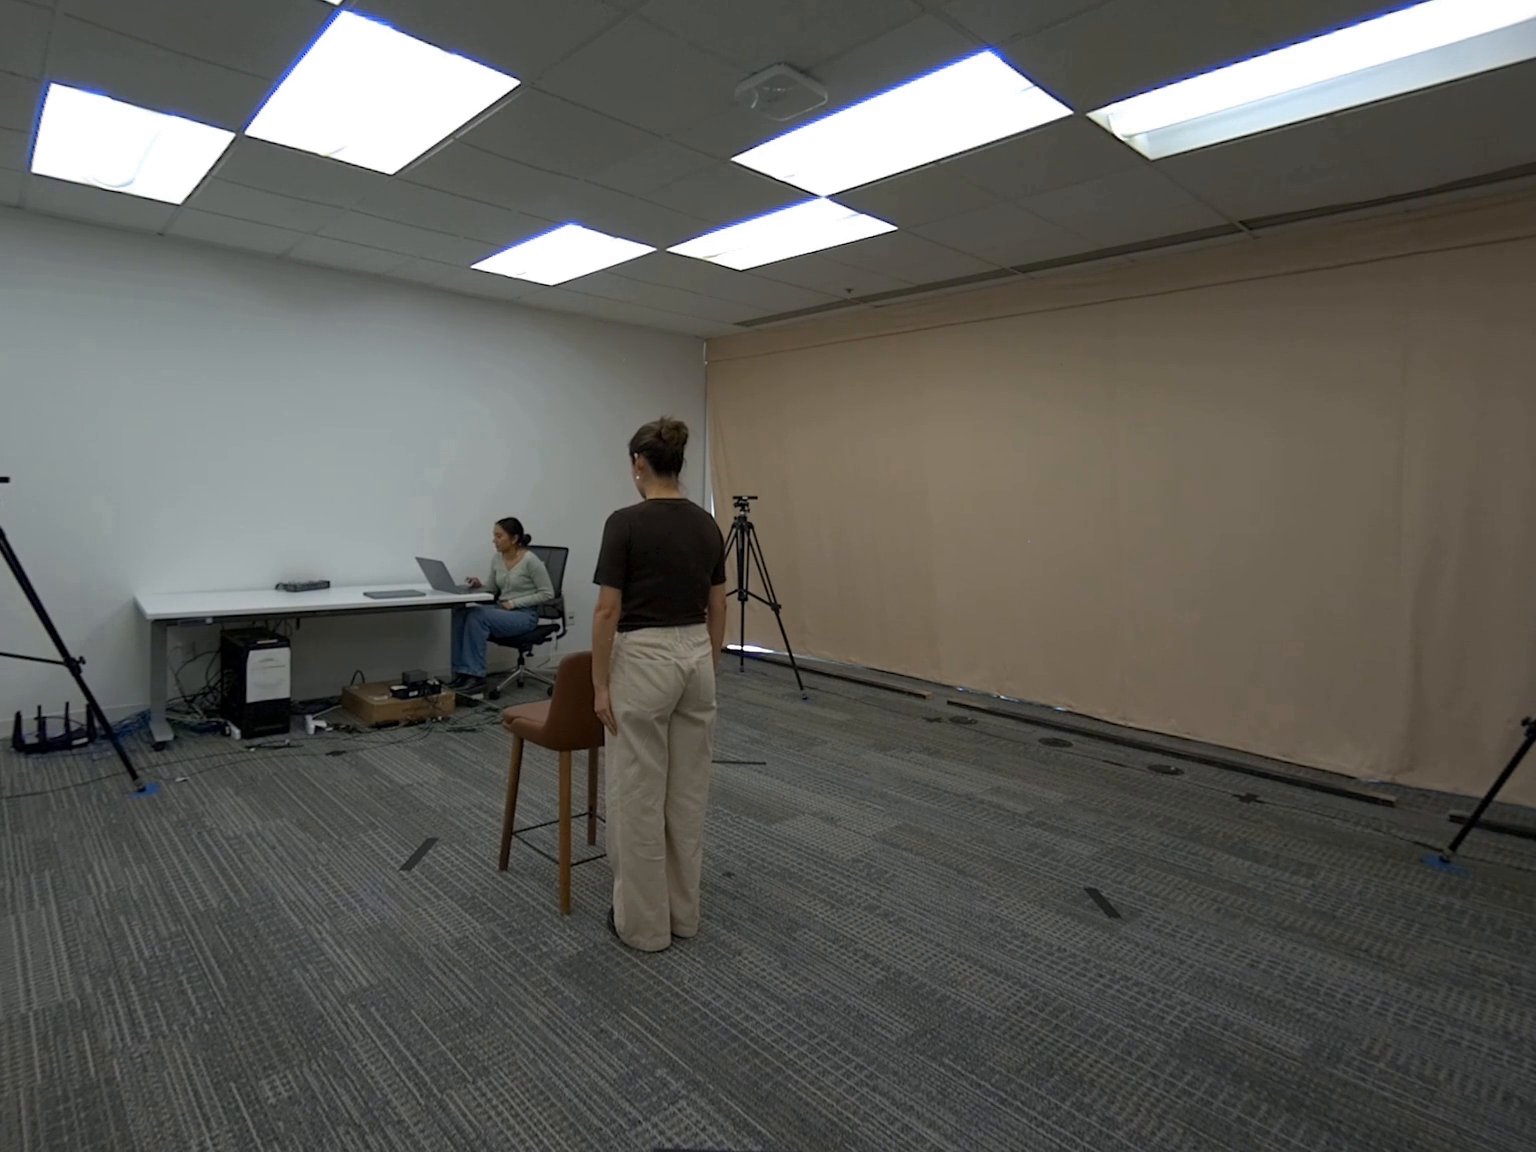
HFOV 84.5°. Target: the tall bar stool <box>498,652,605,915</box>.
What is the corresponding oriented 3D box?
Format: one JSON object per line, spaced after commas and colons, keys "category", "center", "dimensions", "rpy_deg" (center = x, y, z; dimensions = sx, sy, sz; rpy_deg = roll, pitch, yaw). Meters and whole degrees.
{"category": "tall bar stool", "center": [-0.682, 0.660, 3.030], "dimensions": [0.446, 0.886, 0.480], "rpy_deg": [-3, 8, -42]}
